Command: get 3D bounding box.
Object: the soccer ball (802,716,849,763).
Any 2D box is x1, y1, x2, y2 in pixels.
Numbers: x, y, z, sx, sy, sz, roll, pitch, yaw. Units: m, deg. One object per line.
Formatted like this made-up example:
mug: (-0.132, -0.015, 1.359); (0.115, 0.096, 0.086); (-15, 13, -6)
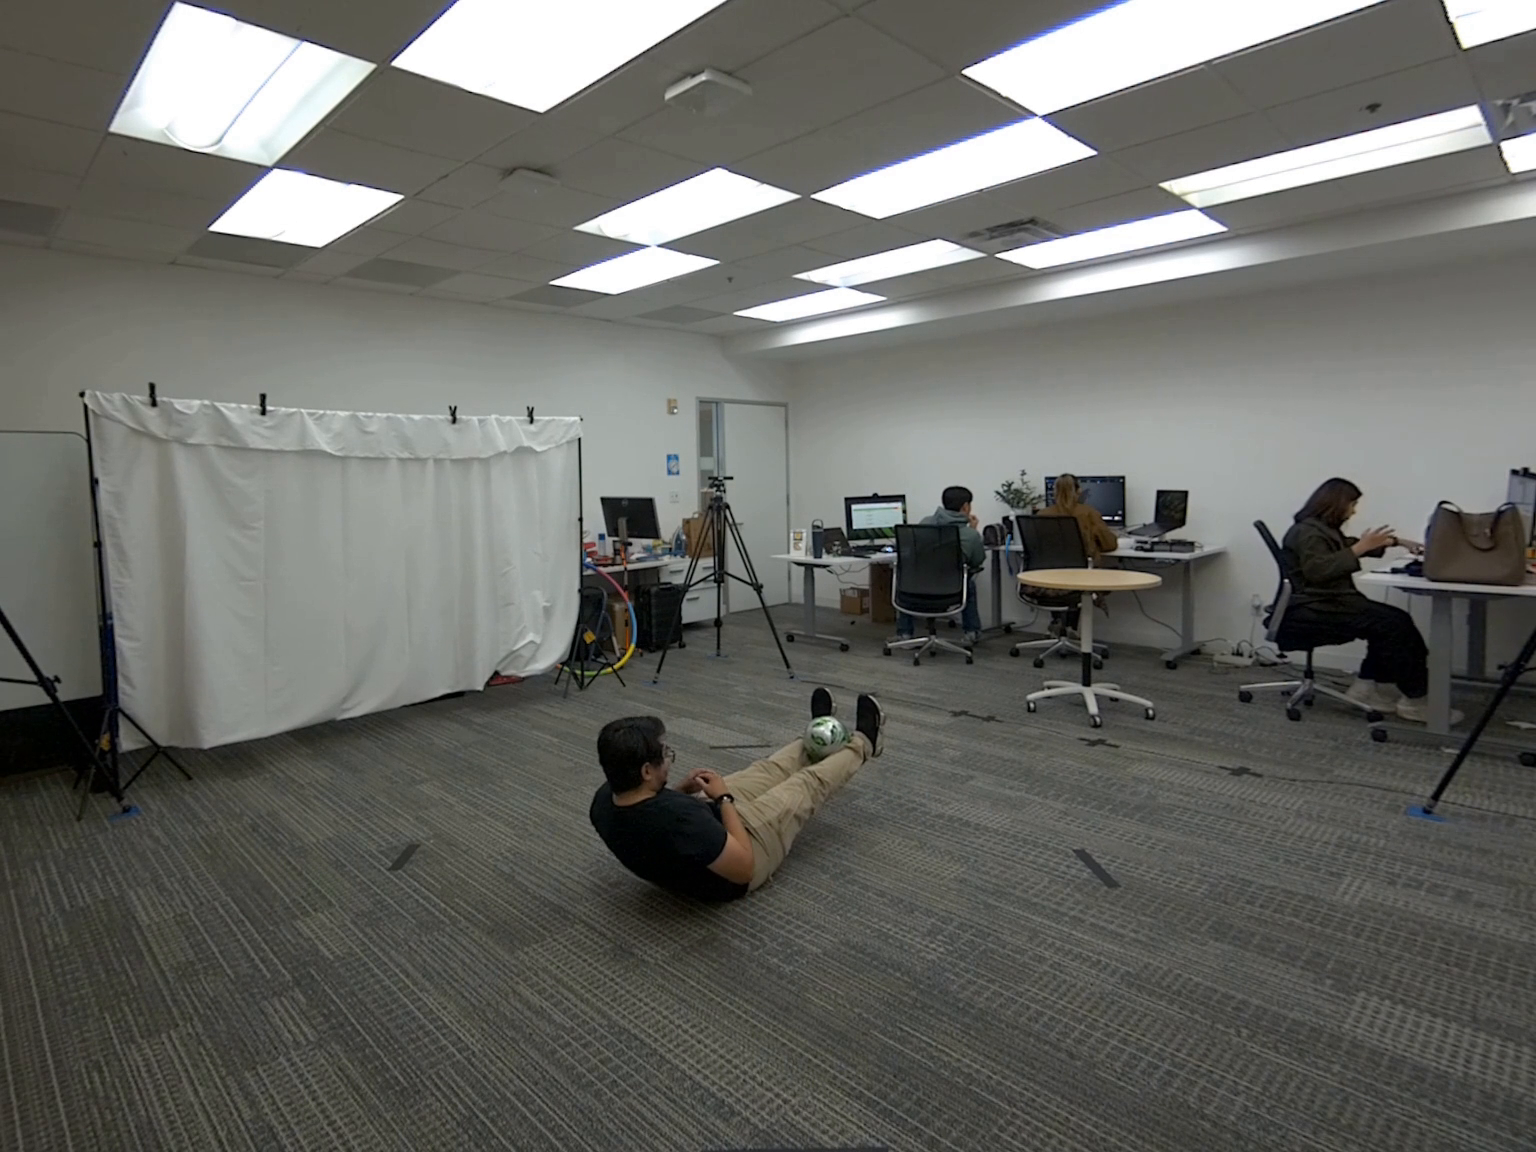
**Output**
soccer ball: (0.244, 0.668, 3.473); (0.187, 0.187, 0.188); (-1, 4, -2)
